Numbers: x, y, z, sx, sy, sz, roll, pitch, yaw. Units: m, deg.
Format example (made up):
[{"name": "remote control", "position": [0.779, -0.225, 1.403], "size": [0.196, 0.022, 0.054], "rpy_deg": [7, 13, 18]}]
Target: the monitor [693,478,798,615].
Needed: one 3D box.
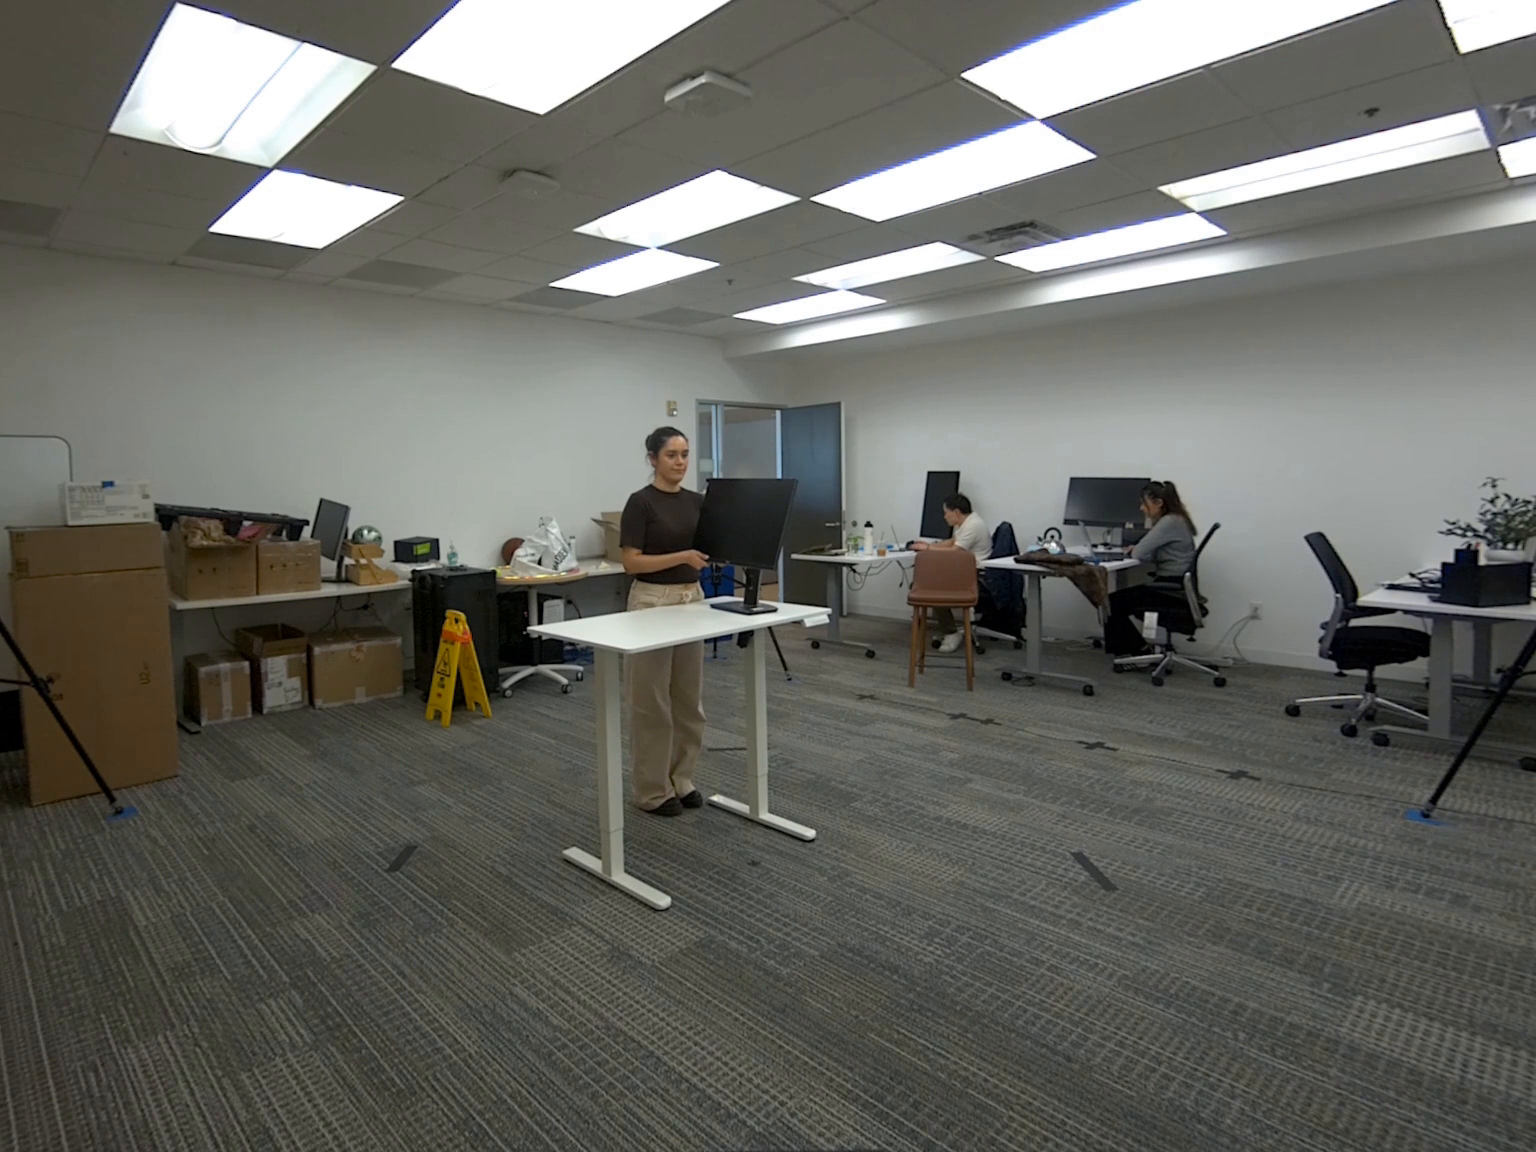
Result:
[{"name": "monitor", "position": [-0.077, -0.122, 3.363], "size": [0.182, 0.522, 0.556], "rpy_deg": [2, 3, -37]}]
